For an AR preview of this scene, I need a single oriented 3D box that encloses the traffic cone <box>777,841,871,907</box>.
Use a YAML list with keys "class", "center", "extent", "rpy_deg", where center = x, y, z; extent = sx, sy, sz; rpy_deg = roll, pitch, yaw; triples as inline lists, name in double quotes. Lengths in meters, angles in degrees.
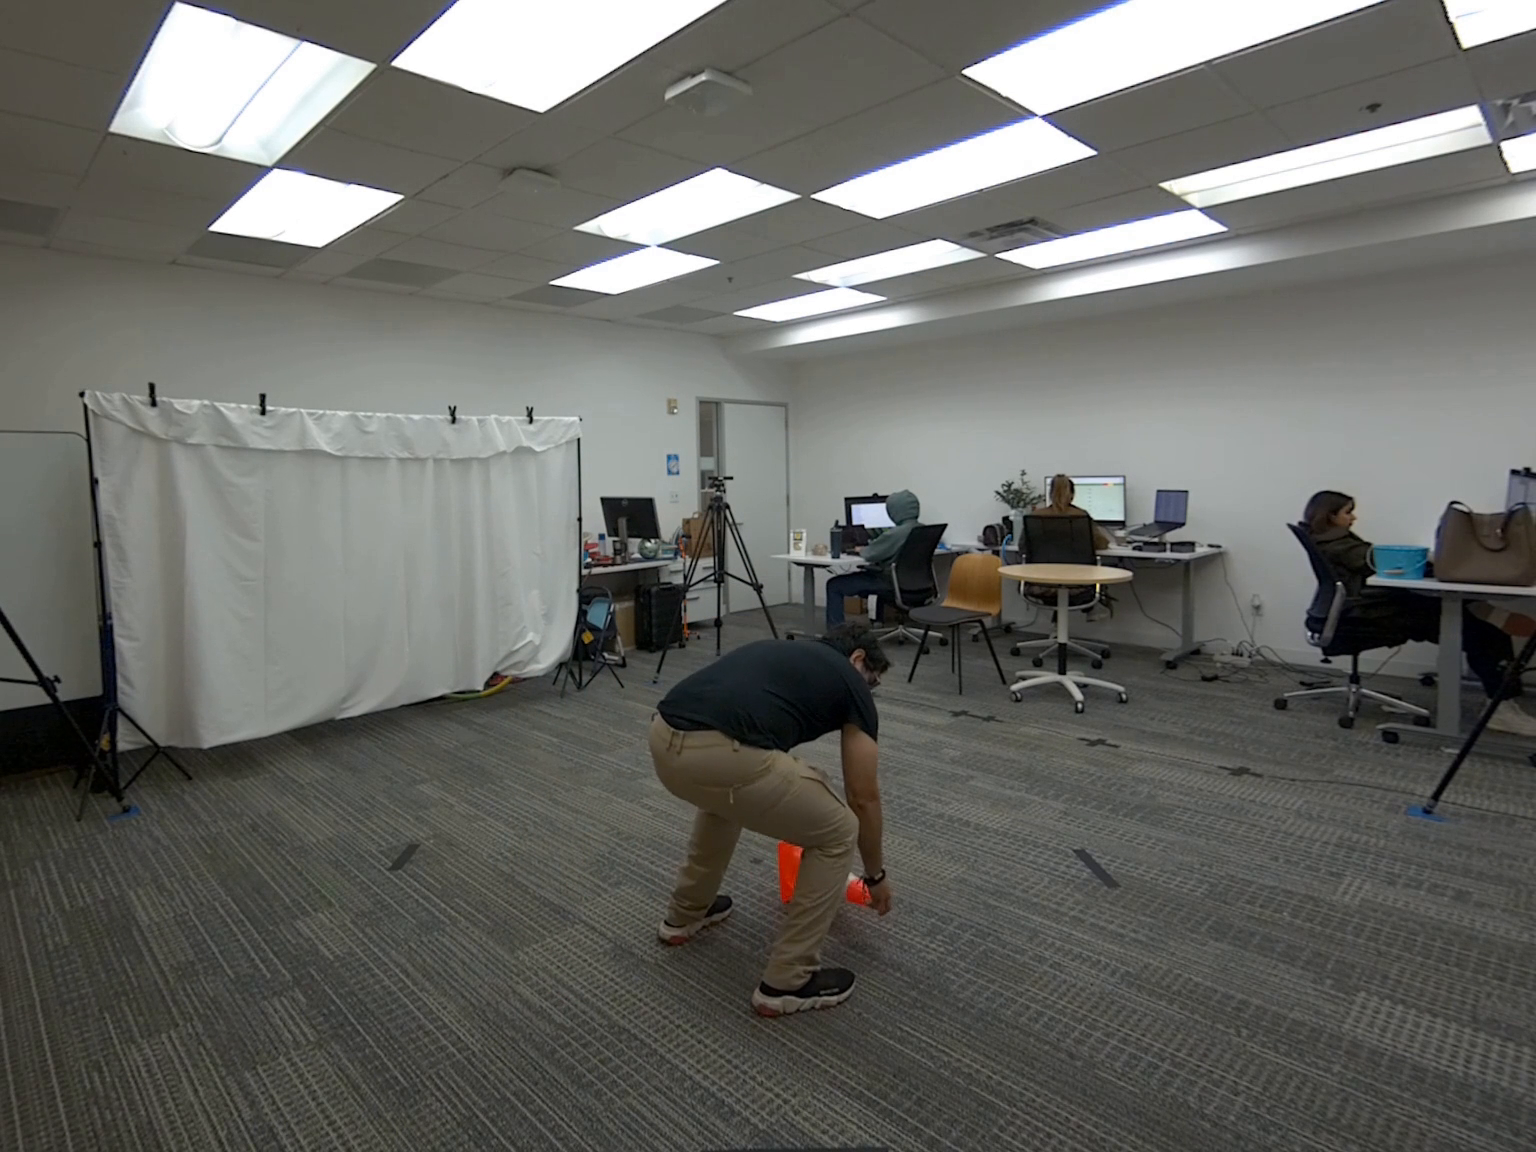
- class: "traffic cone"
  center: [0.229, 0.966, 2.700]
  extent: [0.200, 0.203, 0.394]
  rpy_deg: [-7, 5, -35]
